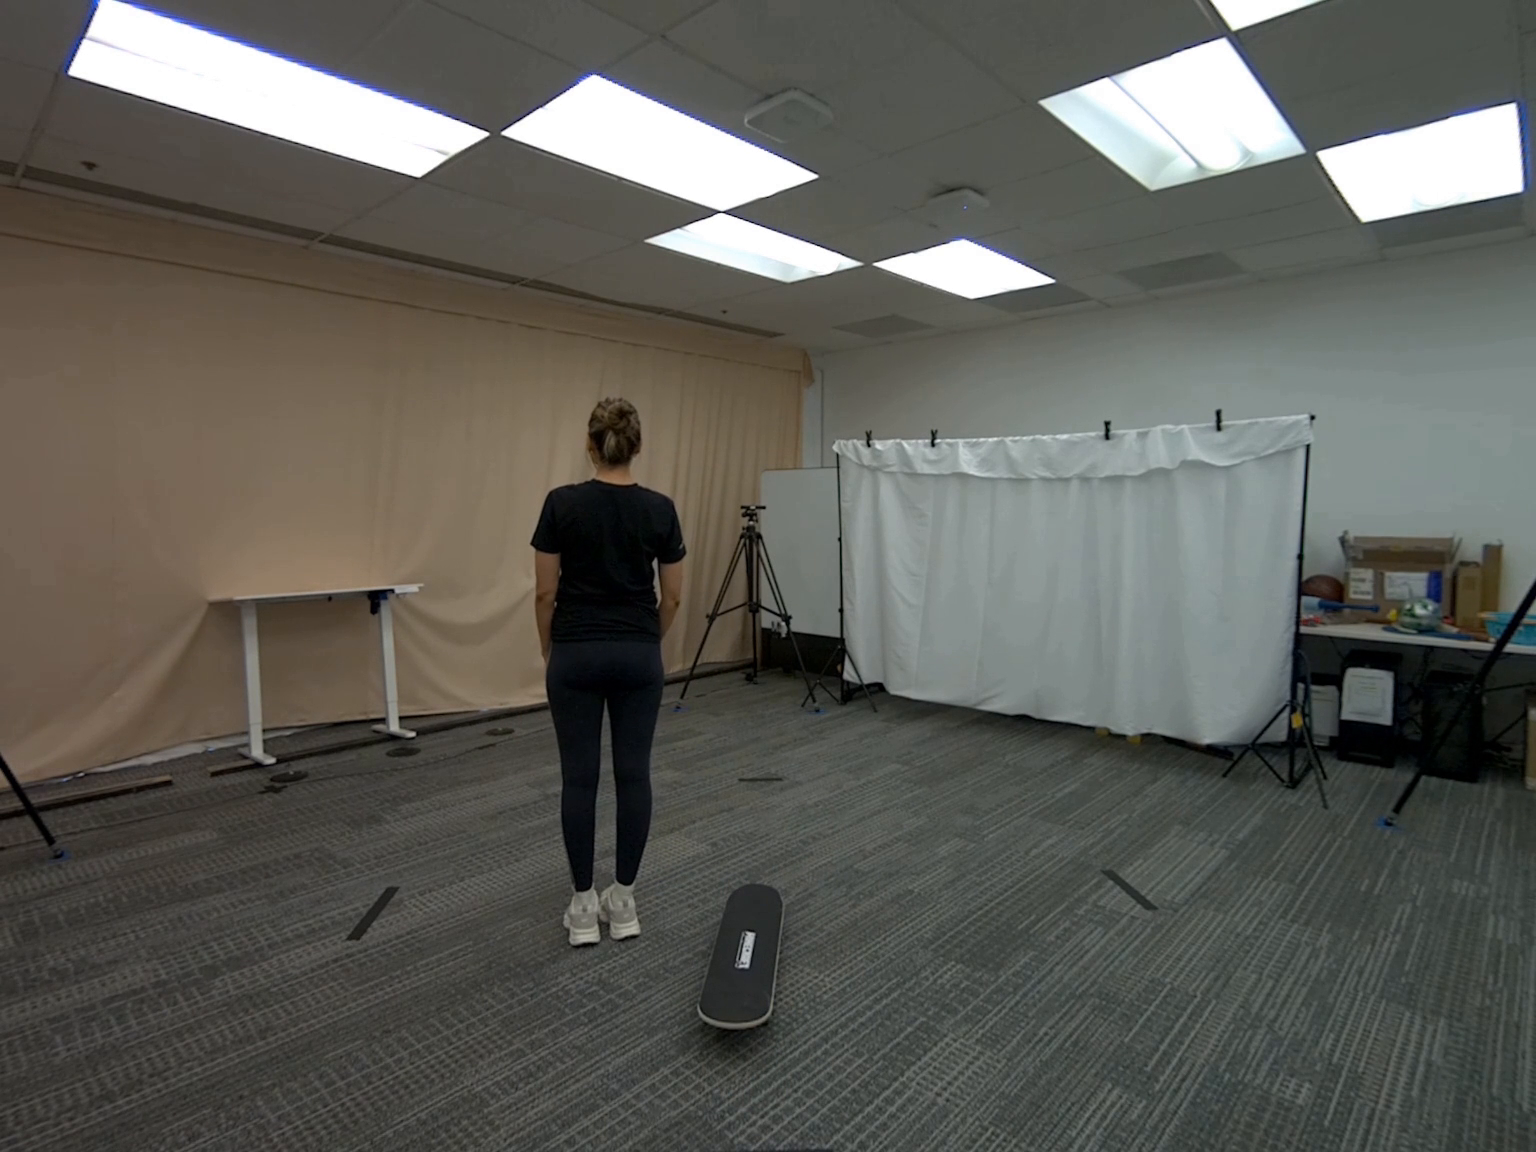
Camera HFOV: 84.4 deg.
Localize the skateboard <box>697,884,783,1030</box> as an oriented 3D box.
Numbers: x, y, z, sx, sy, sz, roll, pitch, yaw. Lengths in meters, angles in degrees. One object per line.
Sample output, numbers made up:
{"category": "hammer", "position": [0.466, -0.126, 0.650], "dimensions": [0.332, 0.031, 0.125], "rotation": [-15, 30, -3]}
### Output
{"category": "skateboard", "position": [-0.062, 1.128, 2.477], "dimensions": [0.195, 0.110, 0.782], "rotation": [0, 5, 4]}
